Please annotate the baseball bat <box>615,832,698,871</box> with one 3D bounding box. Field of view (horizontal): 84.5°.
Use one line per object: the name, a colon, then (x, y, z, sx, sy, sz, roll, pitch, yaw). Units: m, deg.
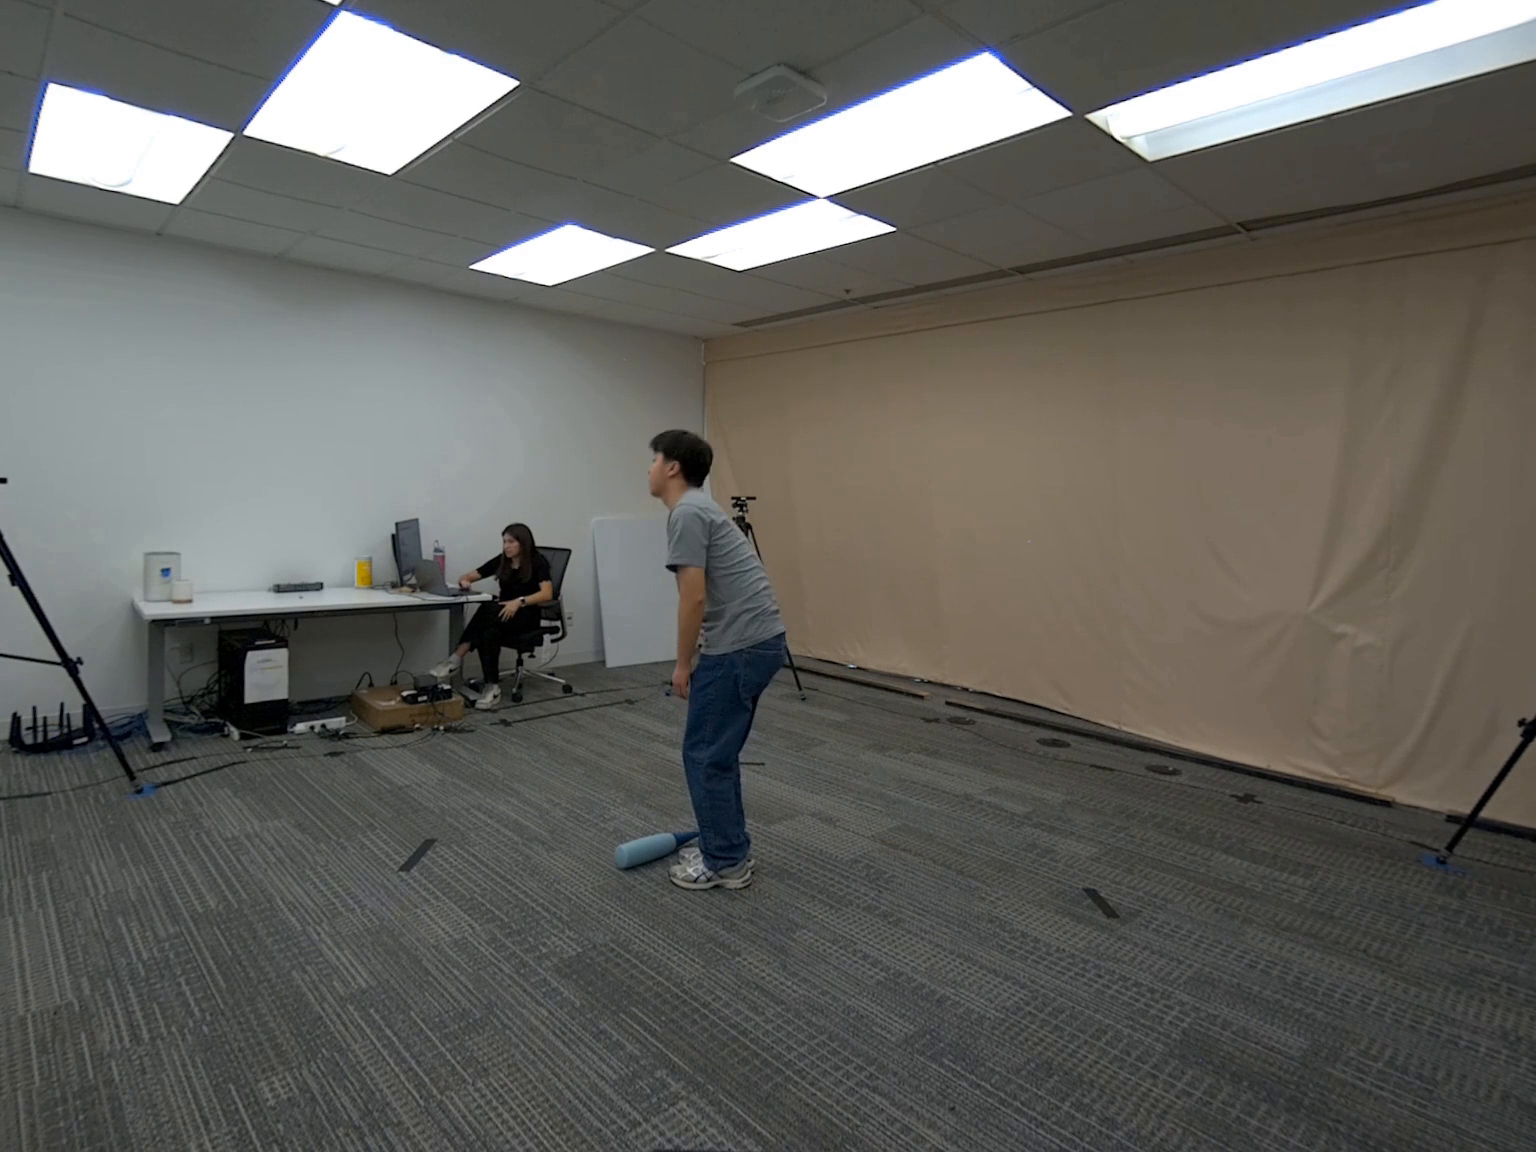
baseball bat: (-0.373, 1.045, 3.310, 0.091, 0.089, 0.530, 5, 4, 44)
